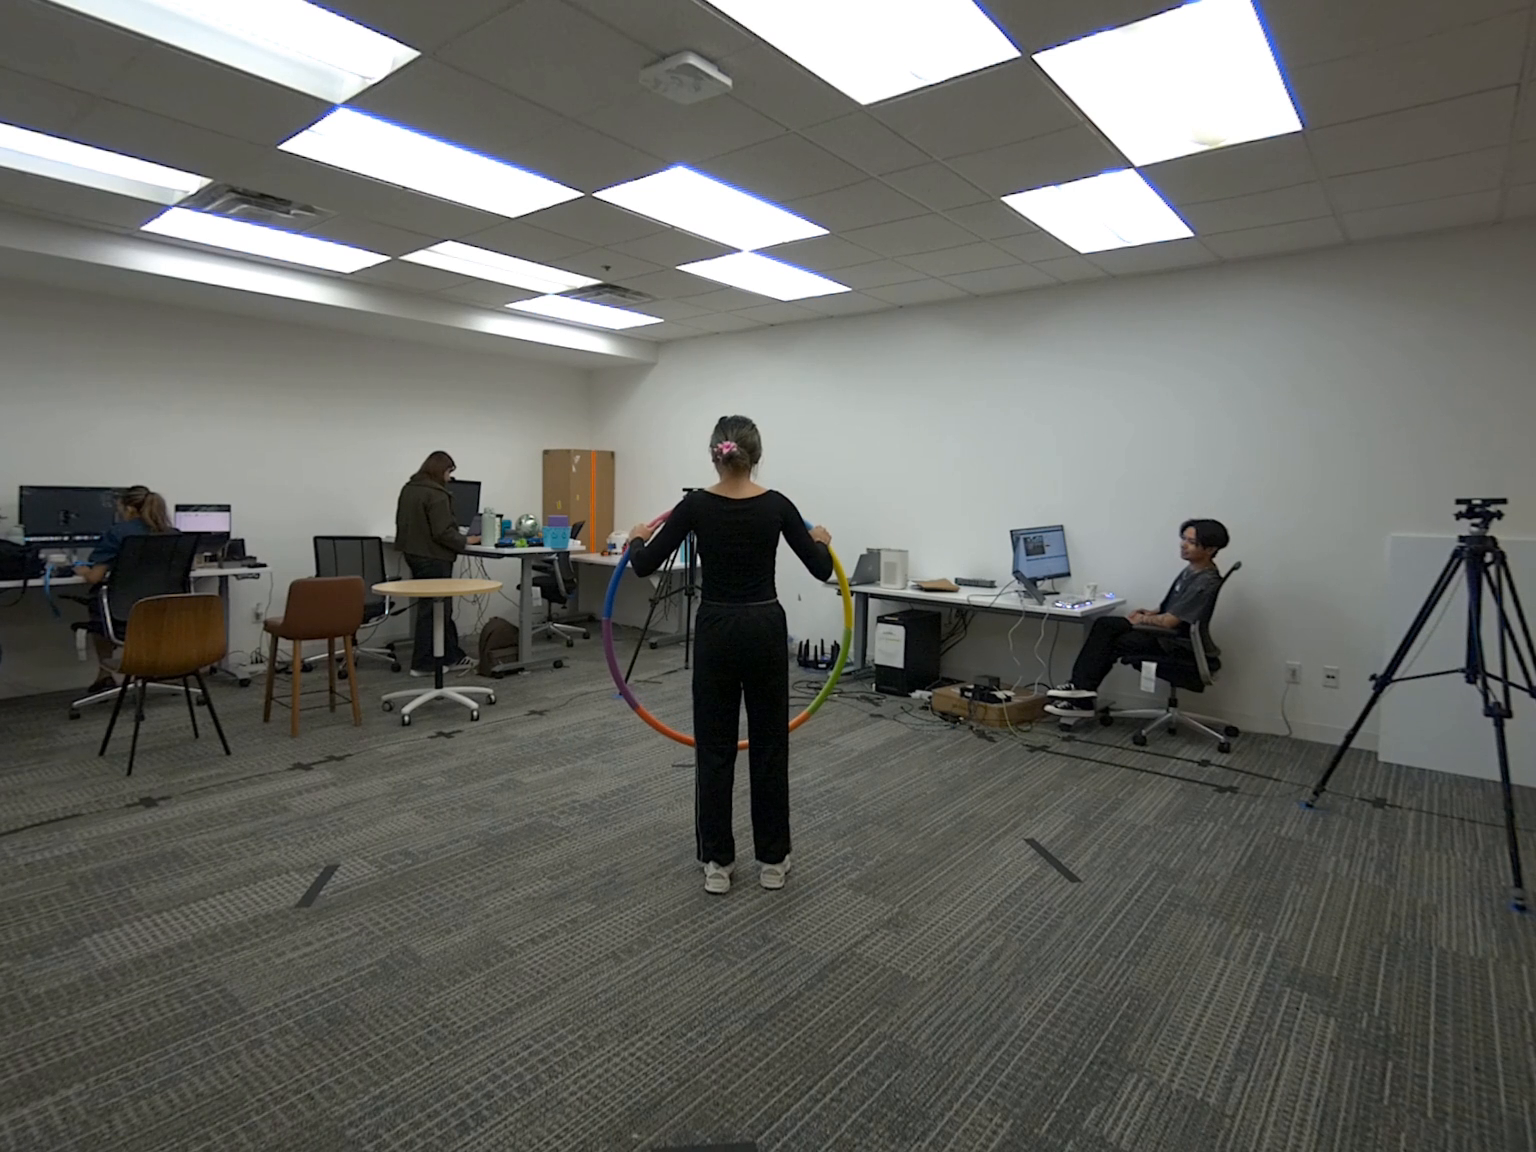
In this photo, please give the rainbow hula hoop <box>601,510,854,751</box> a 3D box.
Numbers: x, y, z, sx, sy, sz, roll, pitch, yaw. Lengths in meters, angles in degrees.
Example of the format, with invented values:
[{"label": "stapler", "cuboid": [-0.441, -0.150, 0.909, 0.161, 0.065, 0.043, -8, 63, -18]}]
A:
[{"label": "rainbow hula hoop", "cuboid": [-0.159, 0.182, 3.282, 0.971, 0.977, 0.036, 0, 1, -7]}]
